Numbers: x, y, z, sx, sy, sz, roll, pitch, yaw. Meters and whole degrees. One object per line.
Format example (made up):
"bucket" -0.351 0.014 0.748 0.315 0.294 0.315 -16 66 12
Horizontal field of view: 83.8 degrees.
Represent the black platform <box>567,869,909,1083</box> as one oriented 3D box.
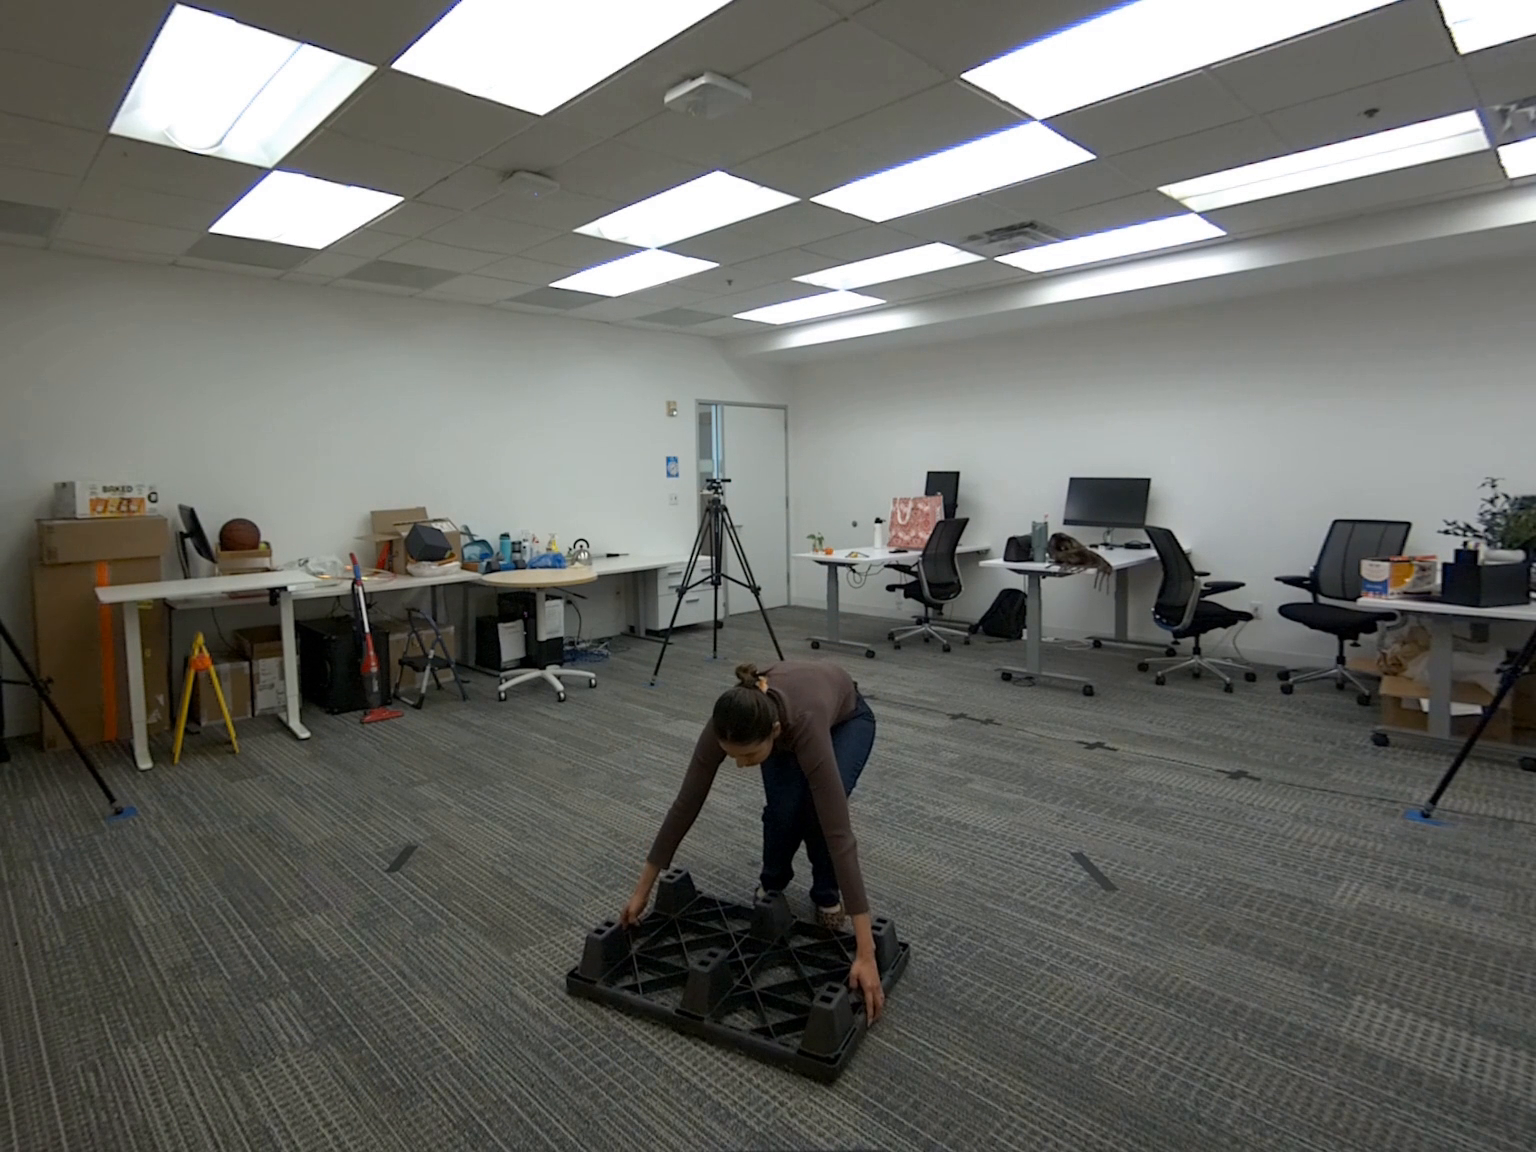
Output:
"black platform" -0.075 1.054 2.400 0.825 0.143 0.593 1 6 27
